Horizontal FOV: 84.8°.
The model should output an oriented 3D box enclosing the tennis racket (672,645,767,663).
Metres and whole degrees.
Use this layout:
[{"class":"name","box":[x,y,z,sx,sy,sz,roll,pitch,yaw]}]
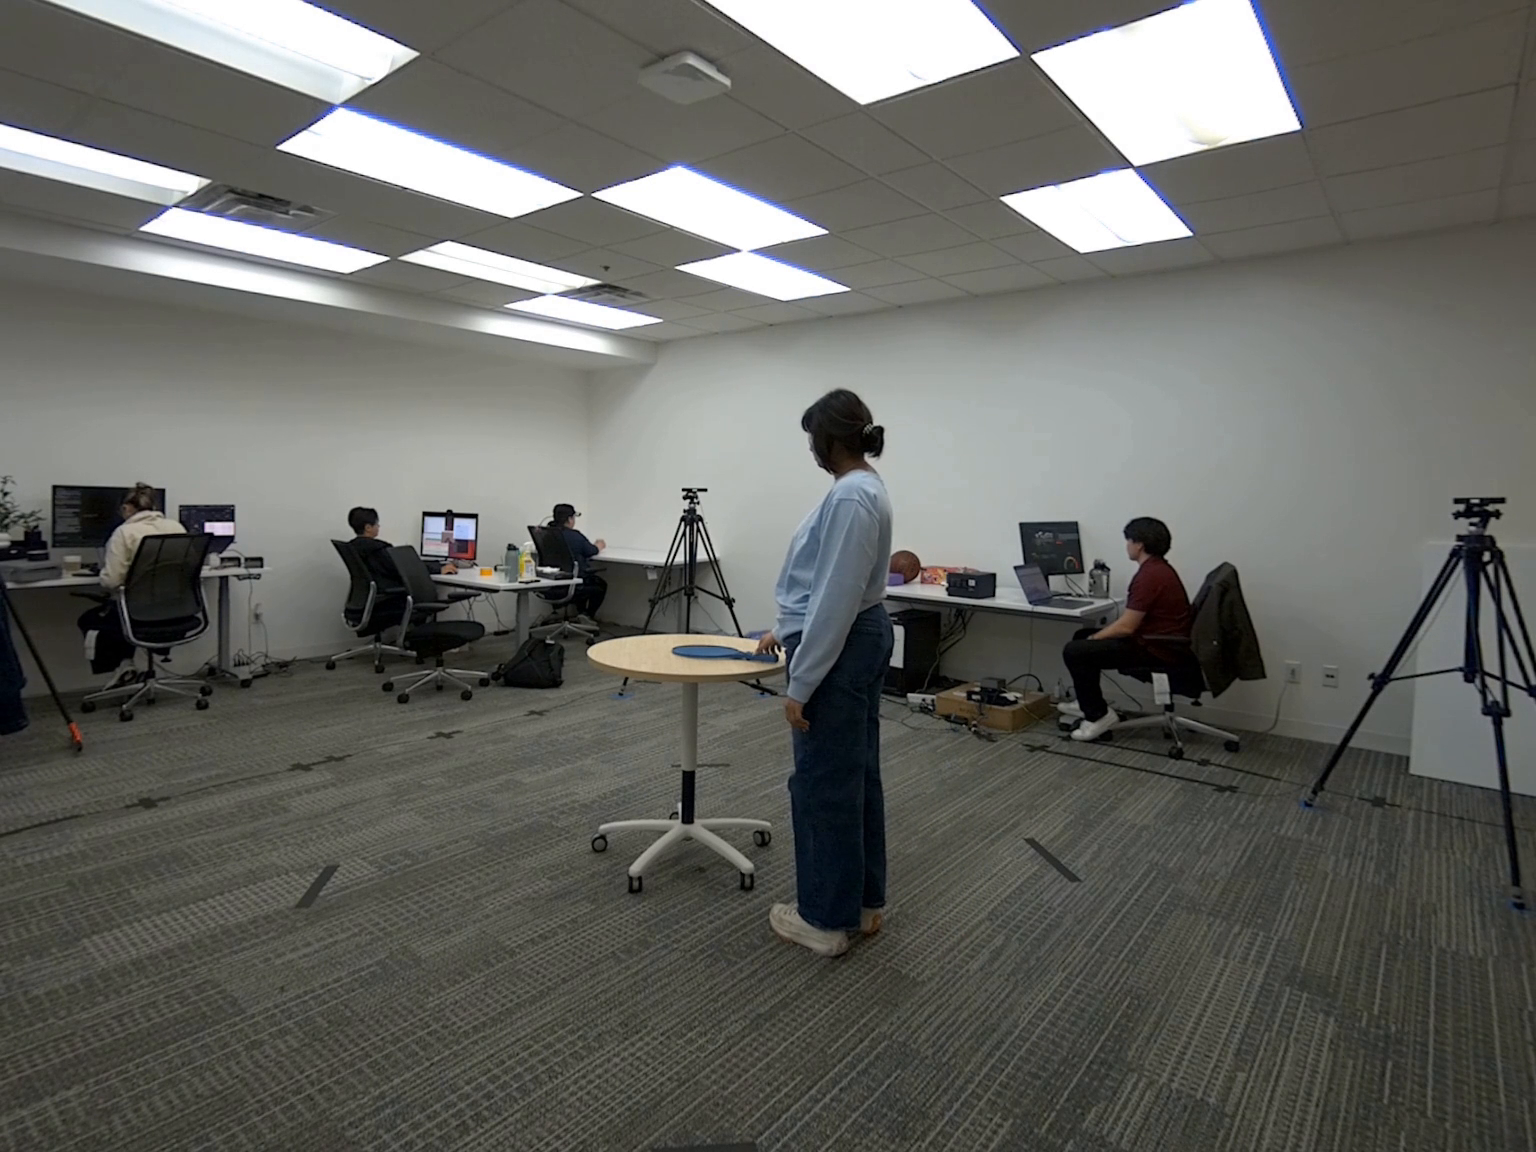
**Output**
[{"class":"tennis racket","box":[-0.172,0.283,3.098,0.446,0.031,0.208,4,6,35]}]
